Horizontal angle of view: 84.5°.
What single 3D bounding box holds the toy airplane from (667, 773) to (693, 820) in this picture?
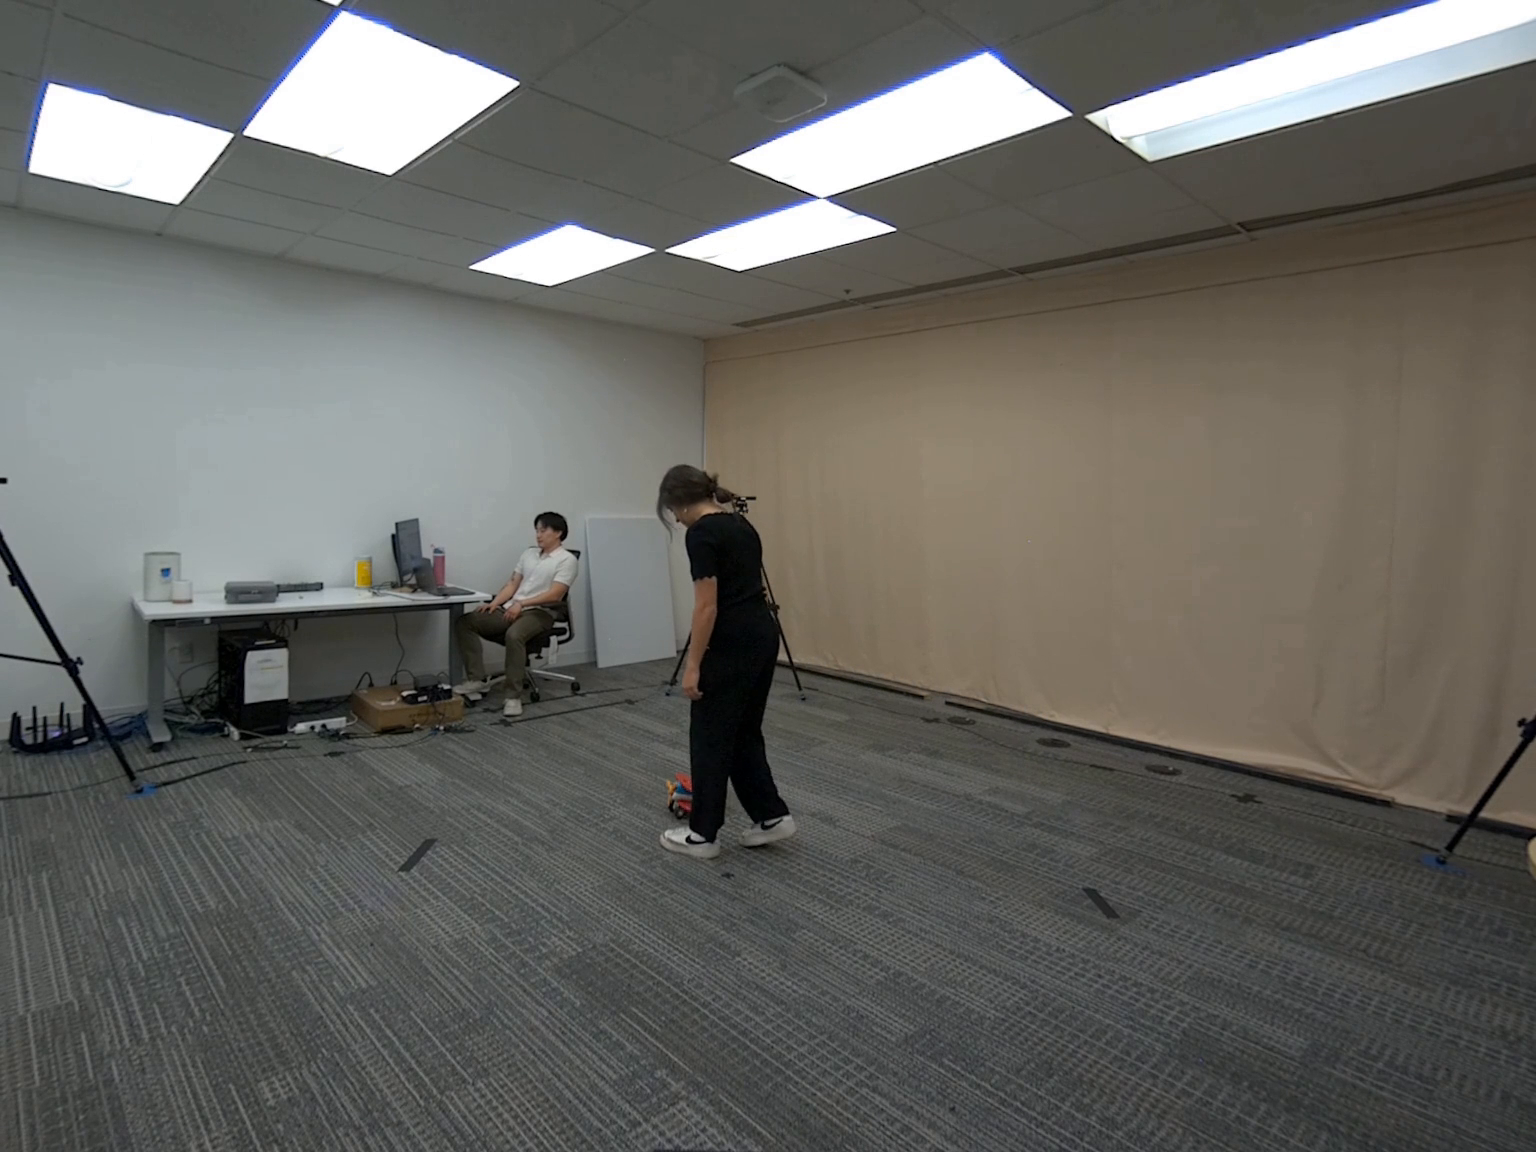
[{"bbox_3d":[-0.340,0.973,3.735,0.257,0.156,0.253,4,5,38],"label":"toy airplane"}]
